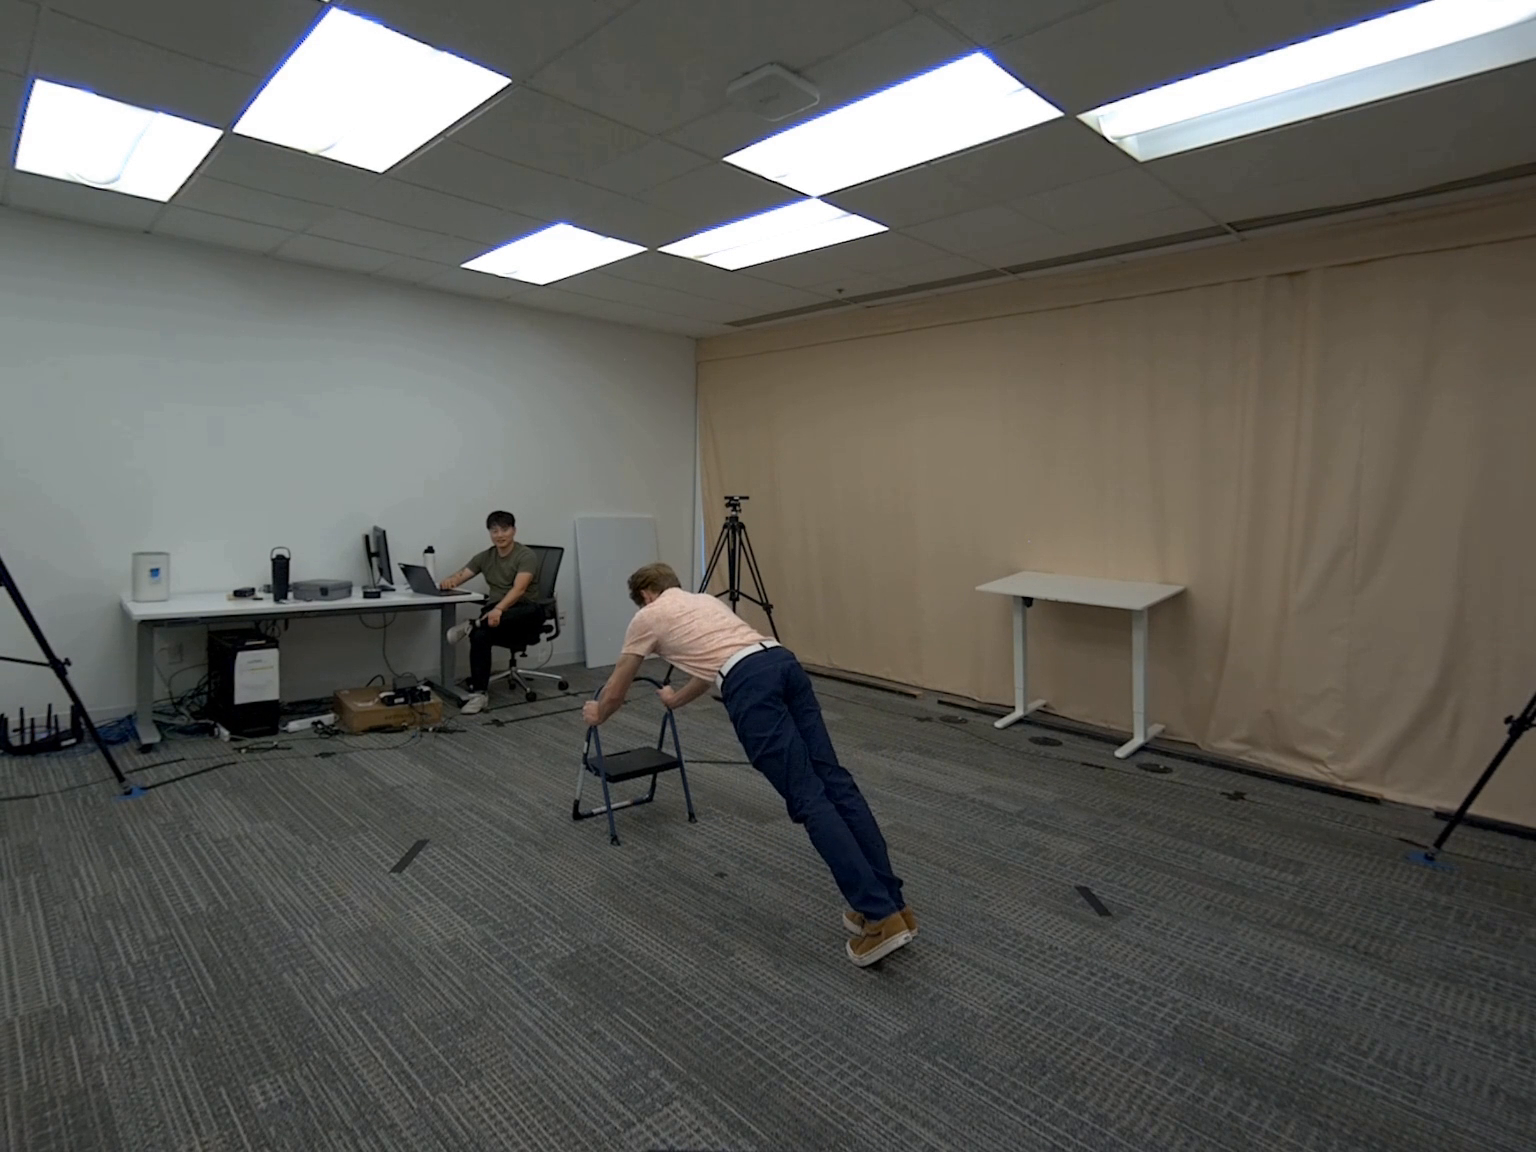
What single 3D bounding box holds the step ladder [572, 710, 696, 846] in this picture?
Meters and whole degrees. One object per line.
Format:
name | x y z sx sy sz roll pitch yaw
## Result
step ladder | -0.573 0.751 3.593 0.421 0.605 0.358 -2 4 -43
